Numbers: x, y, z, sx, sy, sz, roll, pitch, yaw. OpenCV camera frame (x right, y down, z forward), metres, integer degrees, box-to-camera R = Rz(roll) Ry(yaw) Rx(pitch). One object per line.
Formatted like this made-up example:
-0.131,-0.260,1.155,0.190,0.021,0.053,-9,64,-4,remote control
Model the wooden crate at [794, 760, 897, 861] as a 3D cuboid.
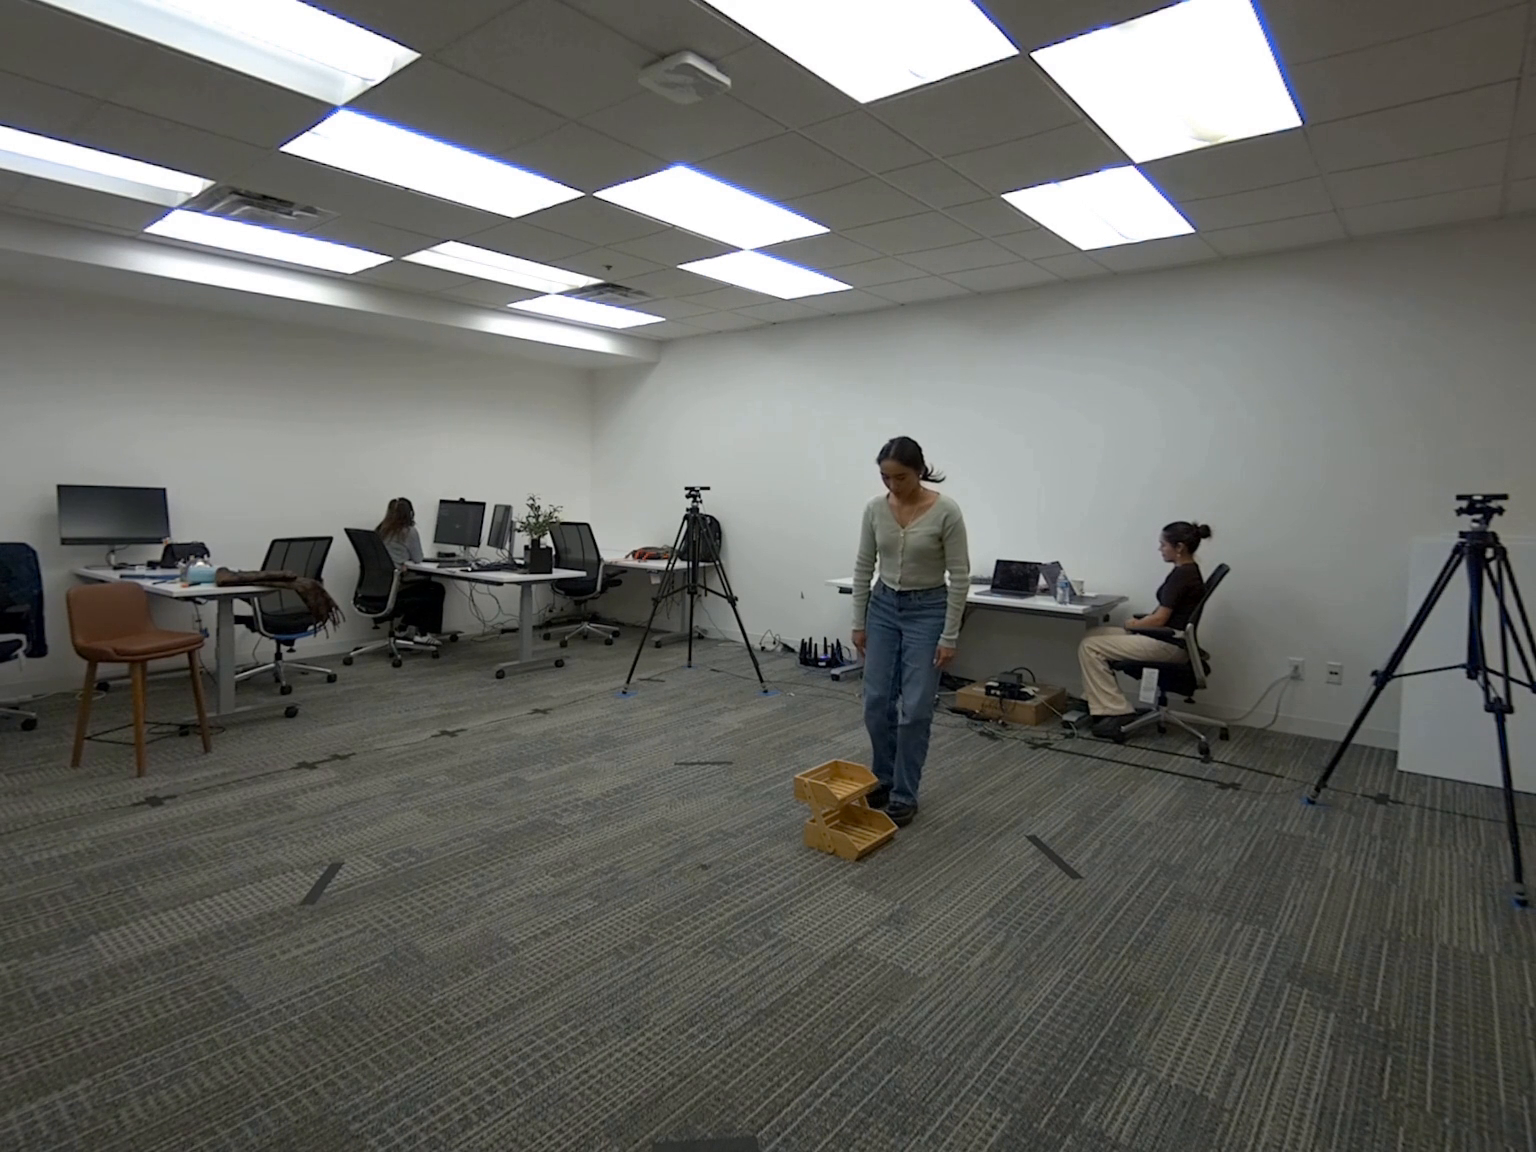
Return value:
0.305,0.913,3.379,0.312,0.272,0.315,3,5,38,wooden crate
